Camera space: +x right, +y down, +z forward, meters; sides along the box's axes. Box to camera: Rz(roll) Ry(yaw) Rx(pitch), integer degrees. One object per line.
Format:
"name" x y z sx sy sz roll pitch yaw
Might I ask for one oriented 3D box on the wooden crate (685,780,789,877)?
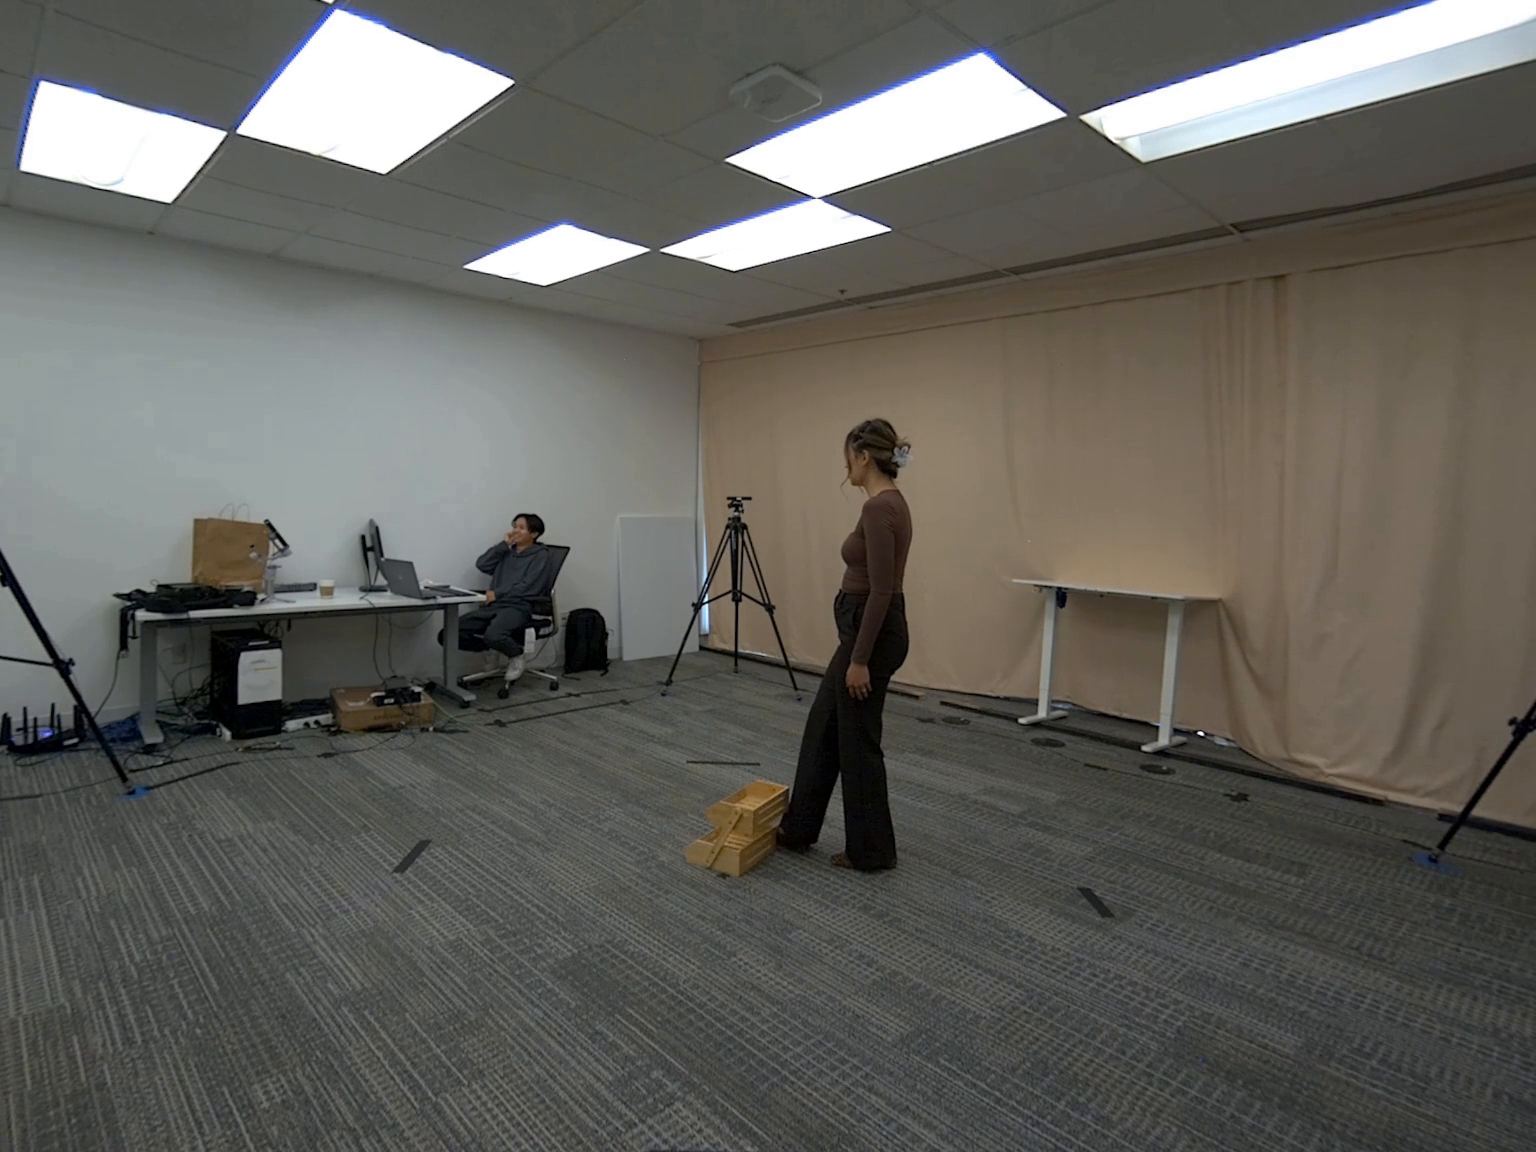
"wooden crate" -0.127 0.953 3.272 0.308 0.272 0.318 5 5 29
